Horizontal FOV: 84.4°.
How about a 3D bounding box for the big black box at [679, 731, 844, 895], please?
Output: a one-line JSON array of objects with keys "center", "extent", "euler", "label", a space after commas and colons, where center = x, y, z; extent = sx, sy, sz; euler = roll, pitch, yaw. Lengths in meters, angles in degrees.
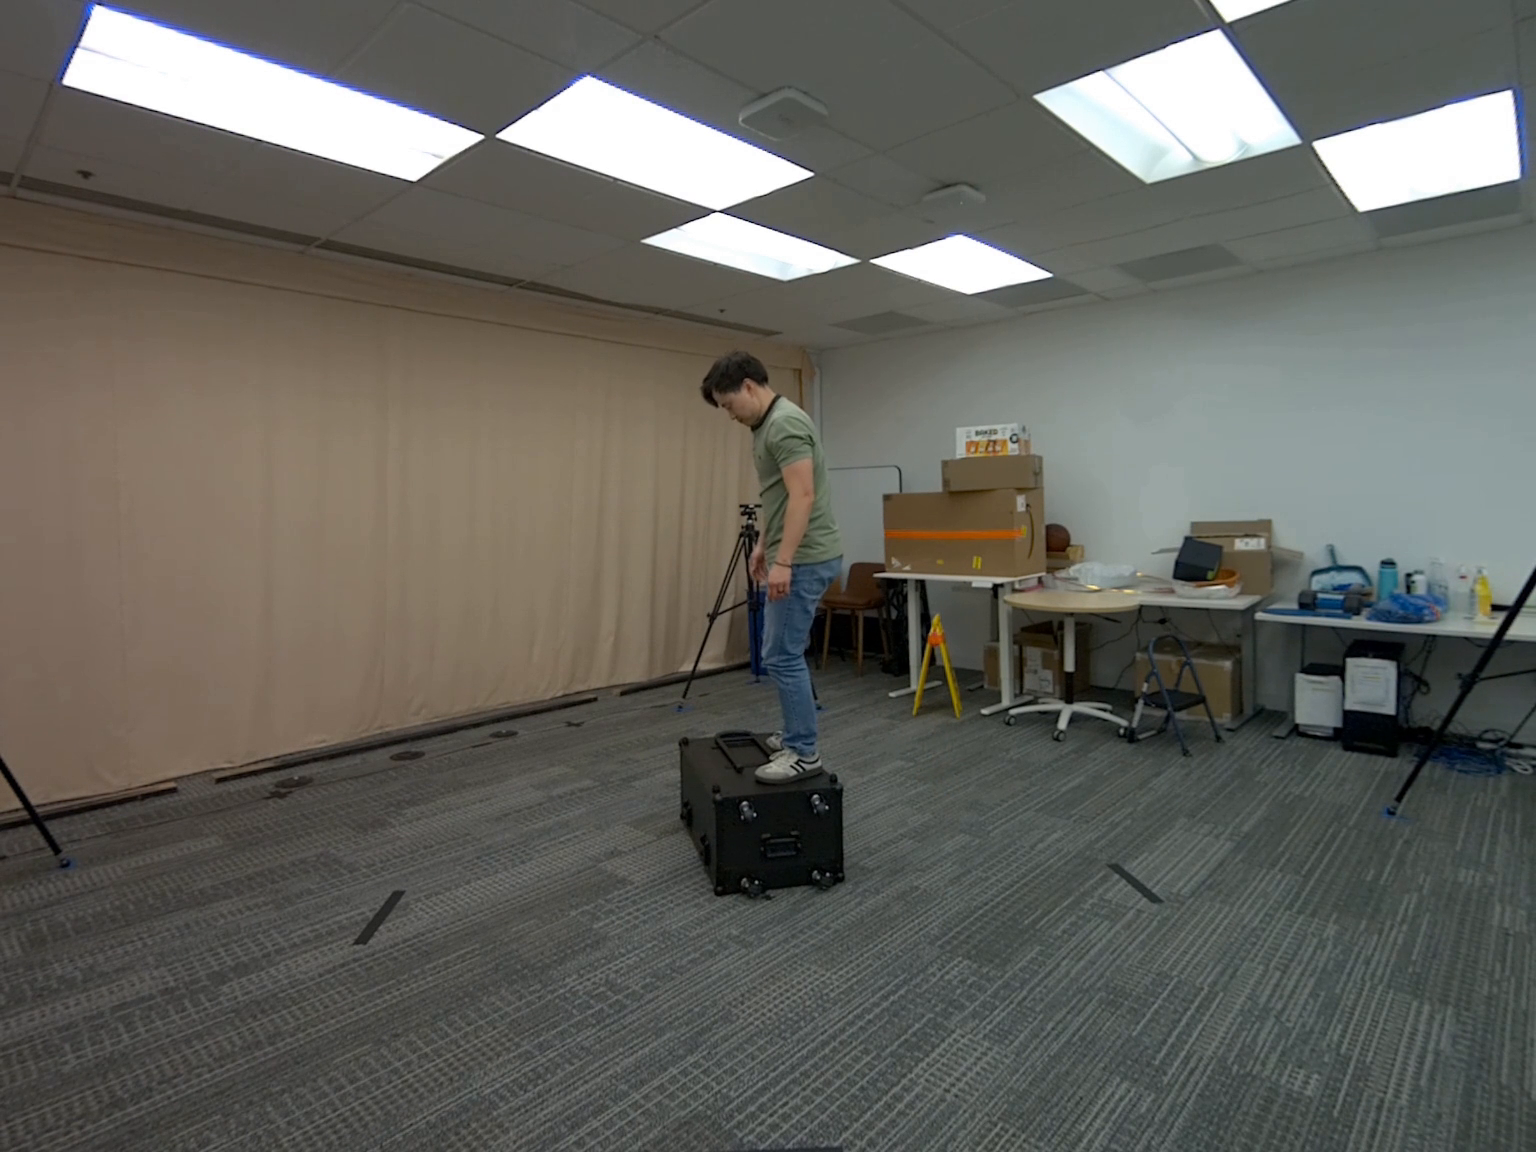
[{"center": [-0.043, 0.913, 3.383], "extent": [0.514, 0.395, 0.877], "euler": [-2, 6, -15], "label": "big black box"}]
